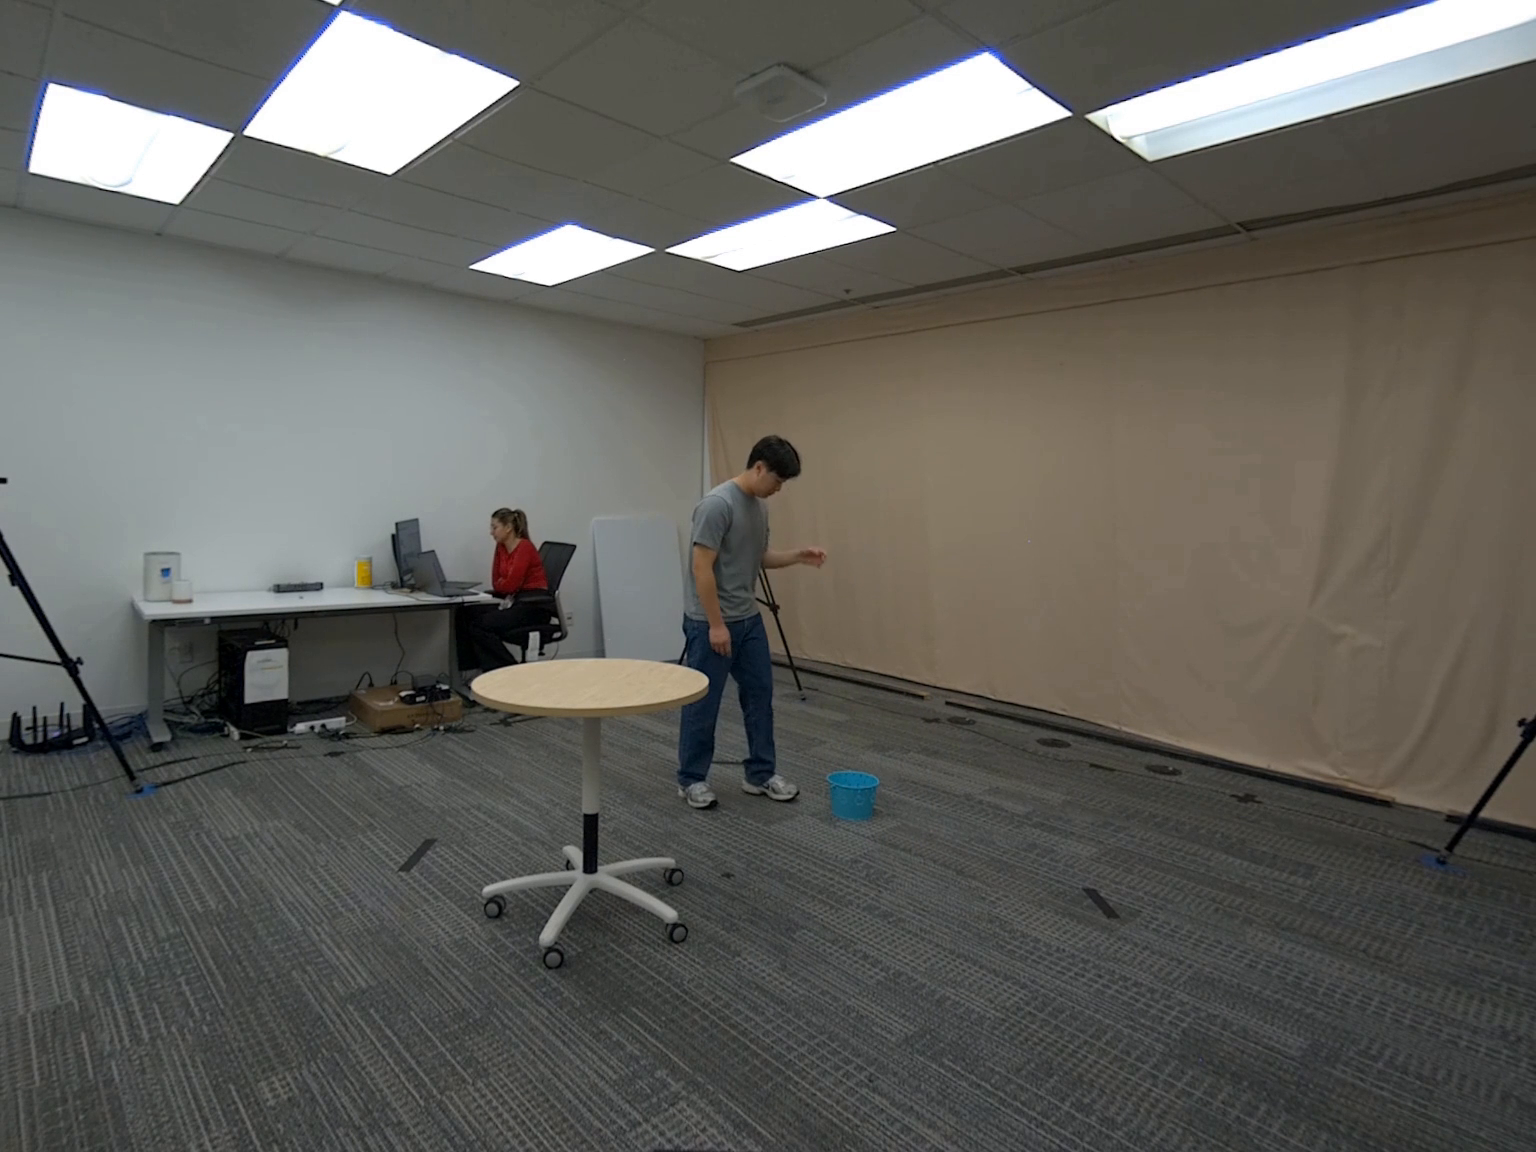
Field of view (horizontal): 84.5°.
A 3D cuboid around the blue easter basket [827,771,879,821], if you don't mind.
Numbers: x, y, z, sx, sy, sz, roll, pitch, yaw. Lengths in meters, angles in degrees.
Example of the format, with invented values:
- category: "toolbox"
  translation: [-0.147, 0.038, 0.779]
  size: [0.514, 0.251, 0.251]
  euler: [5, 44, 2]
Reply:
- category: "blue easter basket"
  translation: [0.369, 0.982, 3.776]
  size: [0.243, 0.155, 0.244]
  euler: [1, 5, -1]
